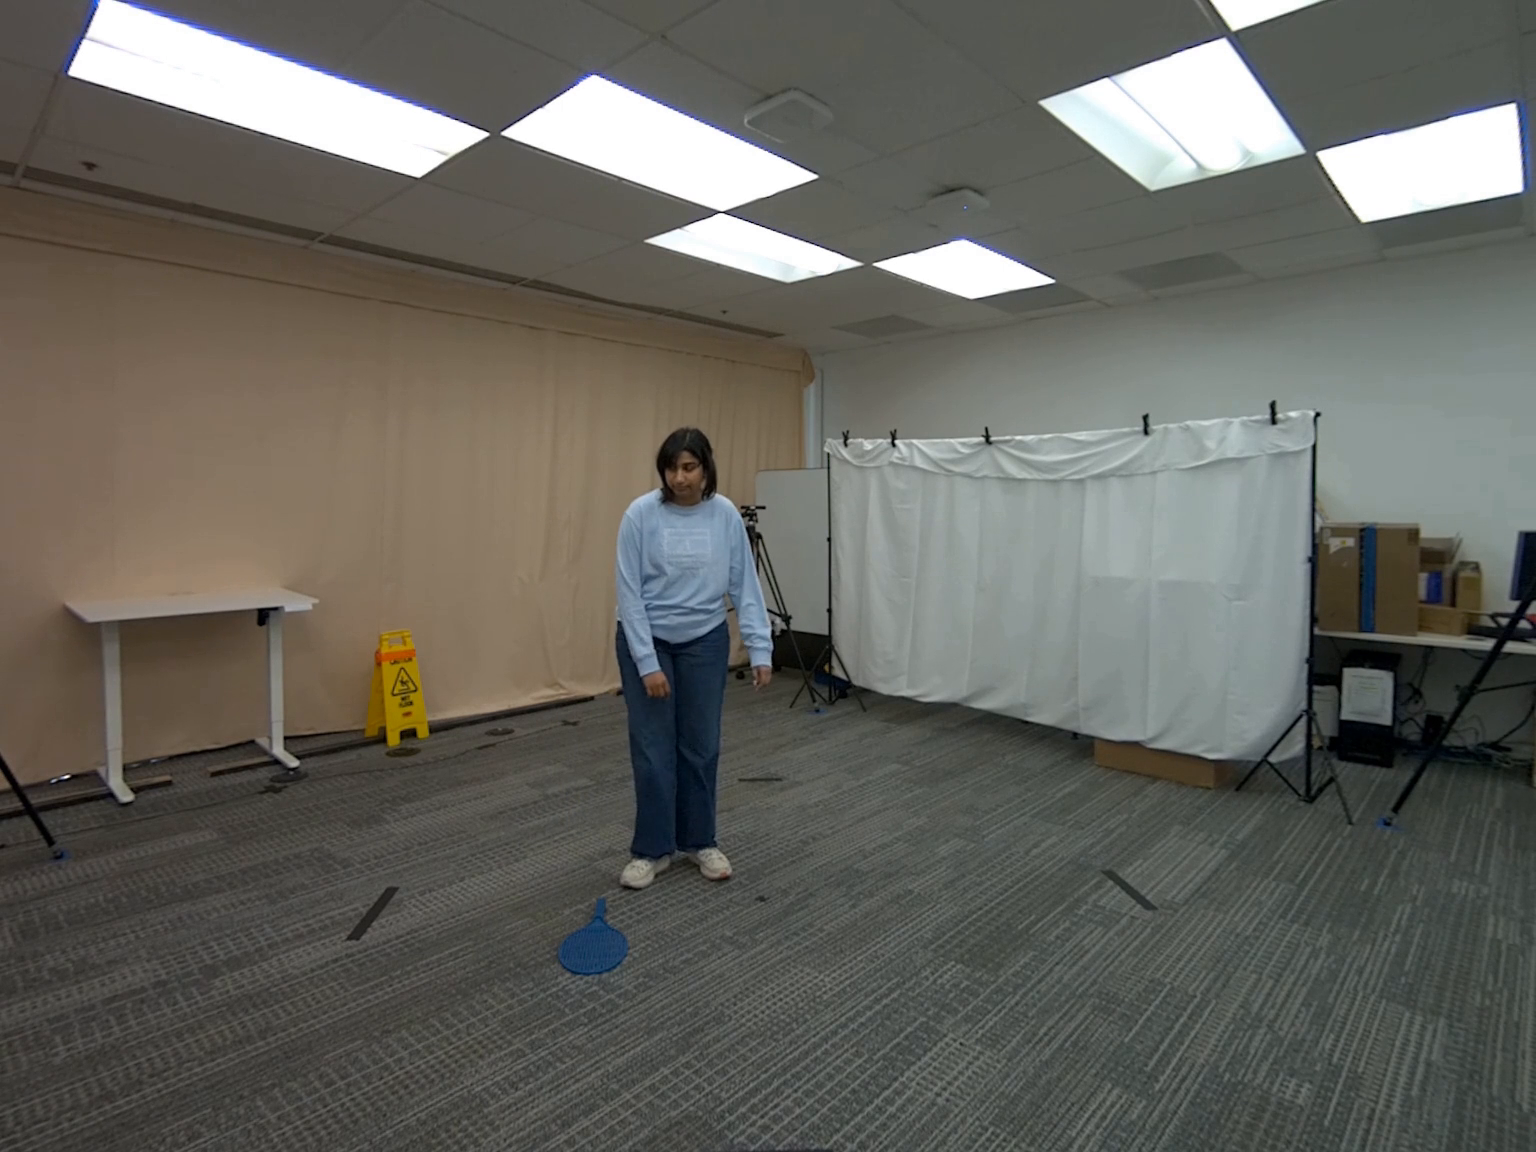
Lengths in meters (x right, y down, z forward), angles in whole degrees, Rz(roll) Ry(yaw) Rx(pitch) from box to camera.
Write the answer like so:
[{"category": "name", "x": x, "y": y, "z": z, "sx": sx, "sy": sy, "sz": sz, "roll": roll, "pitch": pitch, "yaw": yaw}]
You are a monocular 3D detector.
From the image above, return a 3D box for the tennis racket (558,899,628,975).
[{"category": "tennis racket", "x": -0.553, "y": 1.152, "z": 2.717, "sx": 0.212, "sy": 0.031, "sz": 0.437, "roll": -1, "pitch": 6, "yaw": -8}]
